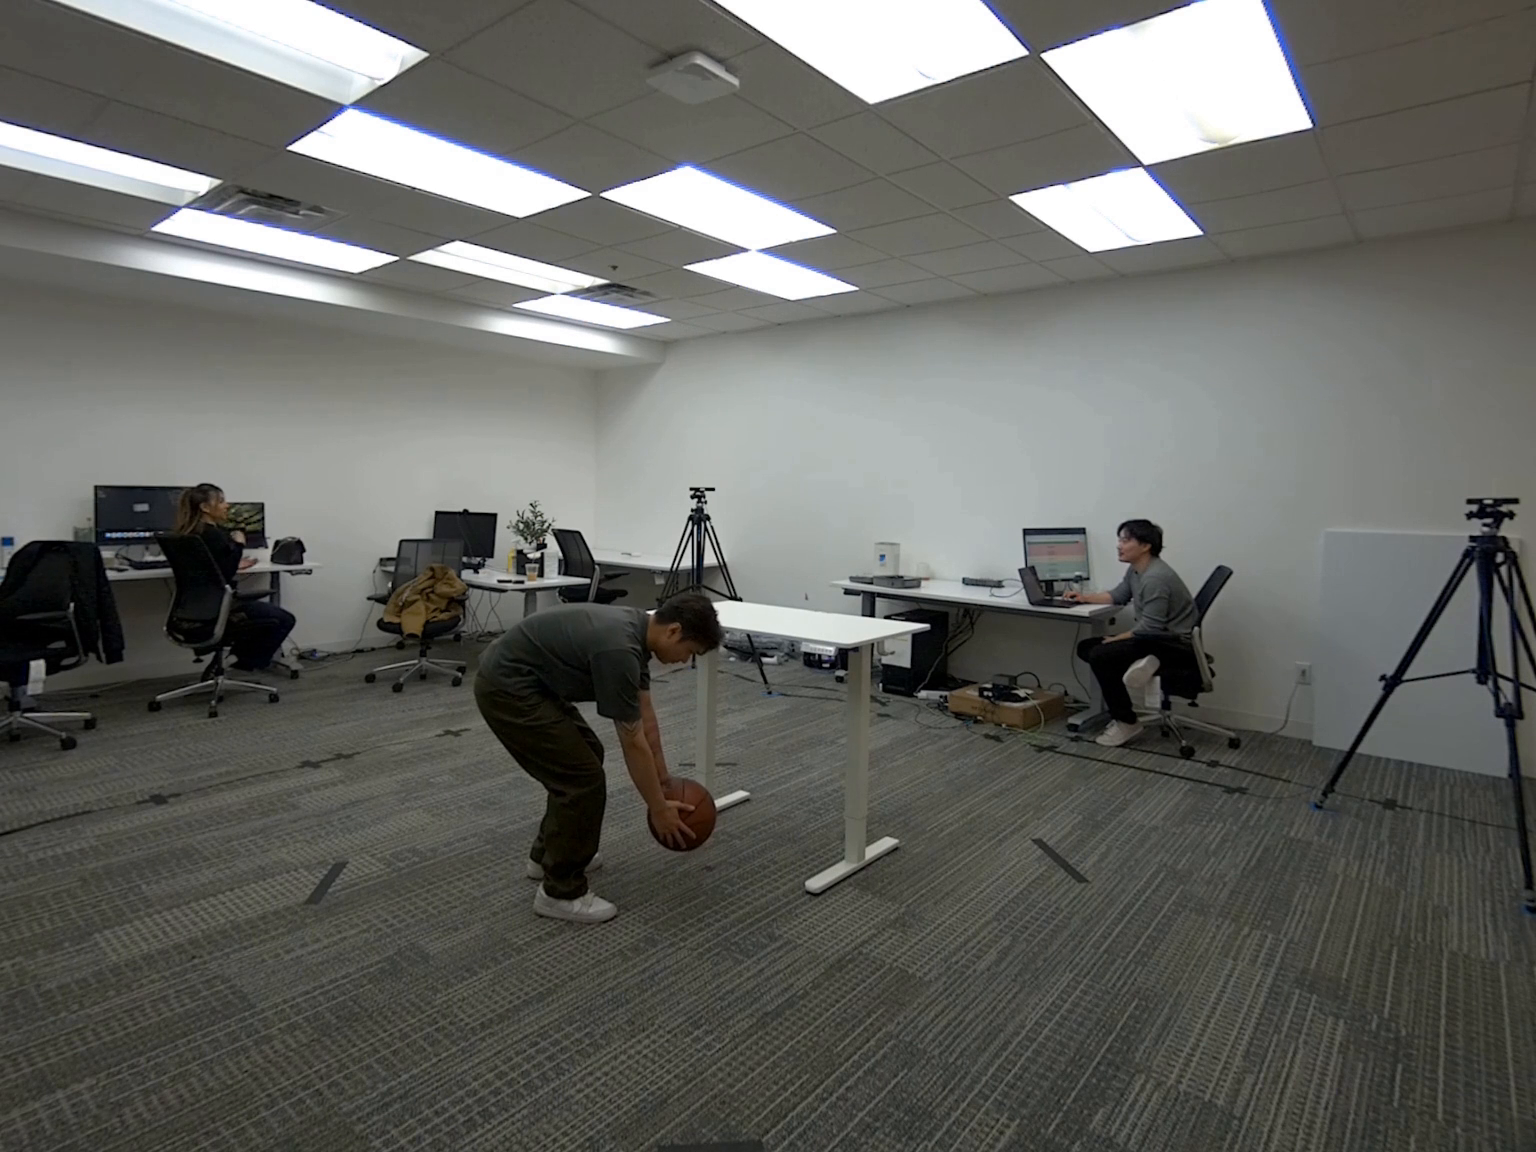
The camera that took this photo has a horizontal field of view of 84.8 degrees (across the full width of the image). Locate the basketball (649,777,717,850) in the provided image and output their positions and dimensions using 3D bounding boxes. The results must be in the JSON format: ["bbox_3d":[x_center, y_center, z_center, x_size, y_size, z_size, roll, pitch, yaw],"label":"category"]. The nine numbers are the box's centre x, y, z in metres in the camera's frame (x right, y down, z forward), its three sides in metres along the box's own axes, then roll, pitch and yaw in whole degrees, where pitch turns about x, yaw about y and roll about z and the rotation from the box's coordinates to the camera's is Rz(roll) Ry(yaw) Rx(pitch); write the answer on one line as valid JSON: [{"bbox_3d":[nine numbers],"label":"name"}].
[{"bbox_3d":[-0.302,0.817,2.921,0.235,0.235,0.237,1,4,-2],"label":"basketball"}]
